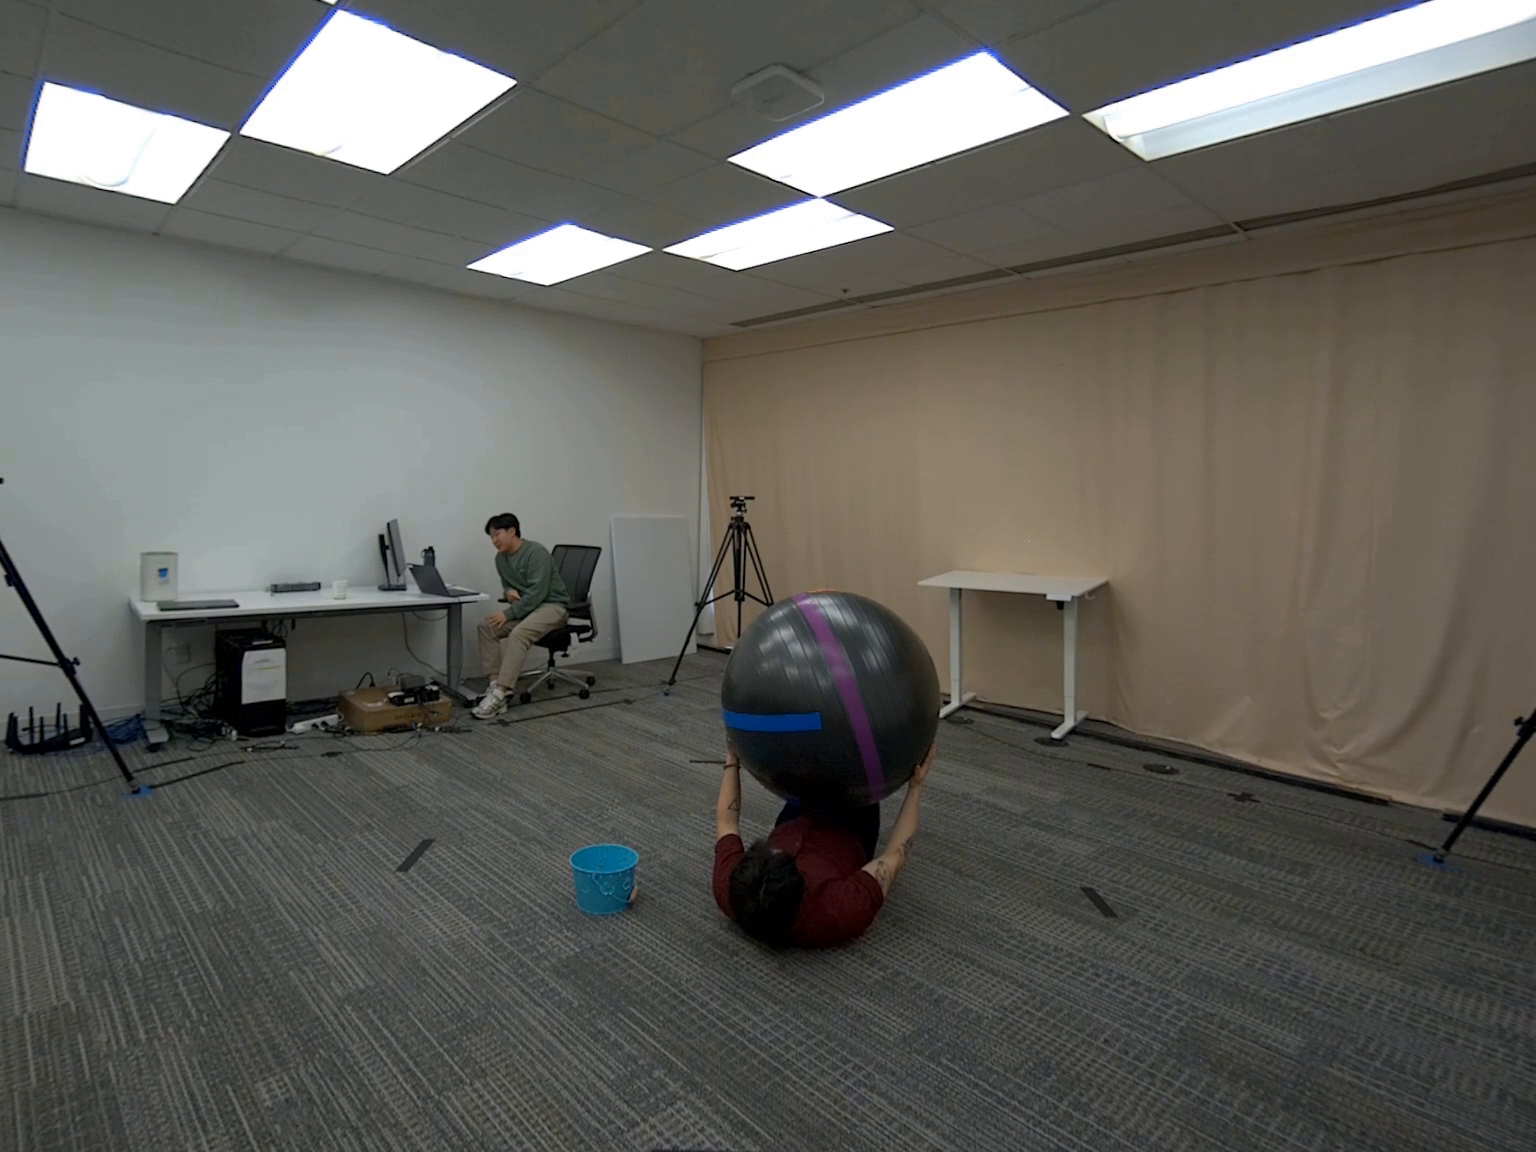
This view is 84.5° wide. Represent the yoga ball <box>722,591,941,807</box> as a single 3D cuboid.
[{"bbox_3d":[0.214,0.430,2.963,0.757,0.756,0.761,1,4,-1],"label":"yoga ball"}]
